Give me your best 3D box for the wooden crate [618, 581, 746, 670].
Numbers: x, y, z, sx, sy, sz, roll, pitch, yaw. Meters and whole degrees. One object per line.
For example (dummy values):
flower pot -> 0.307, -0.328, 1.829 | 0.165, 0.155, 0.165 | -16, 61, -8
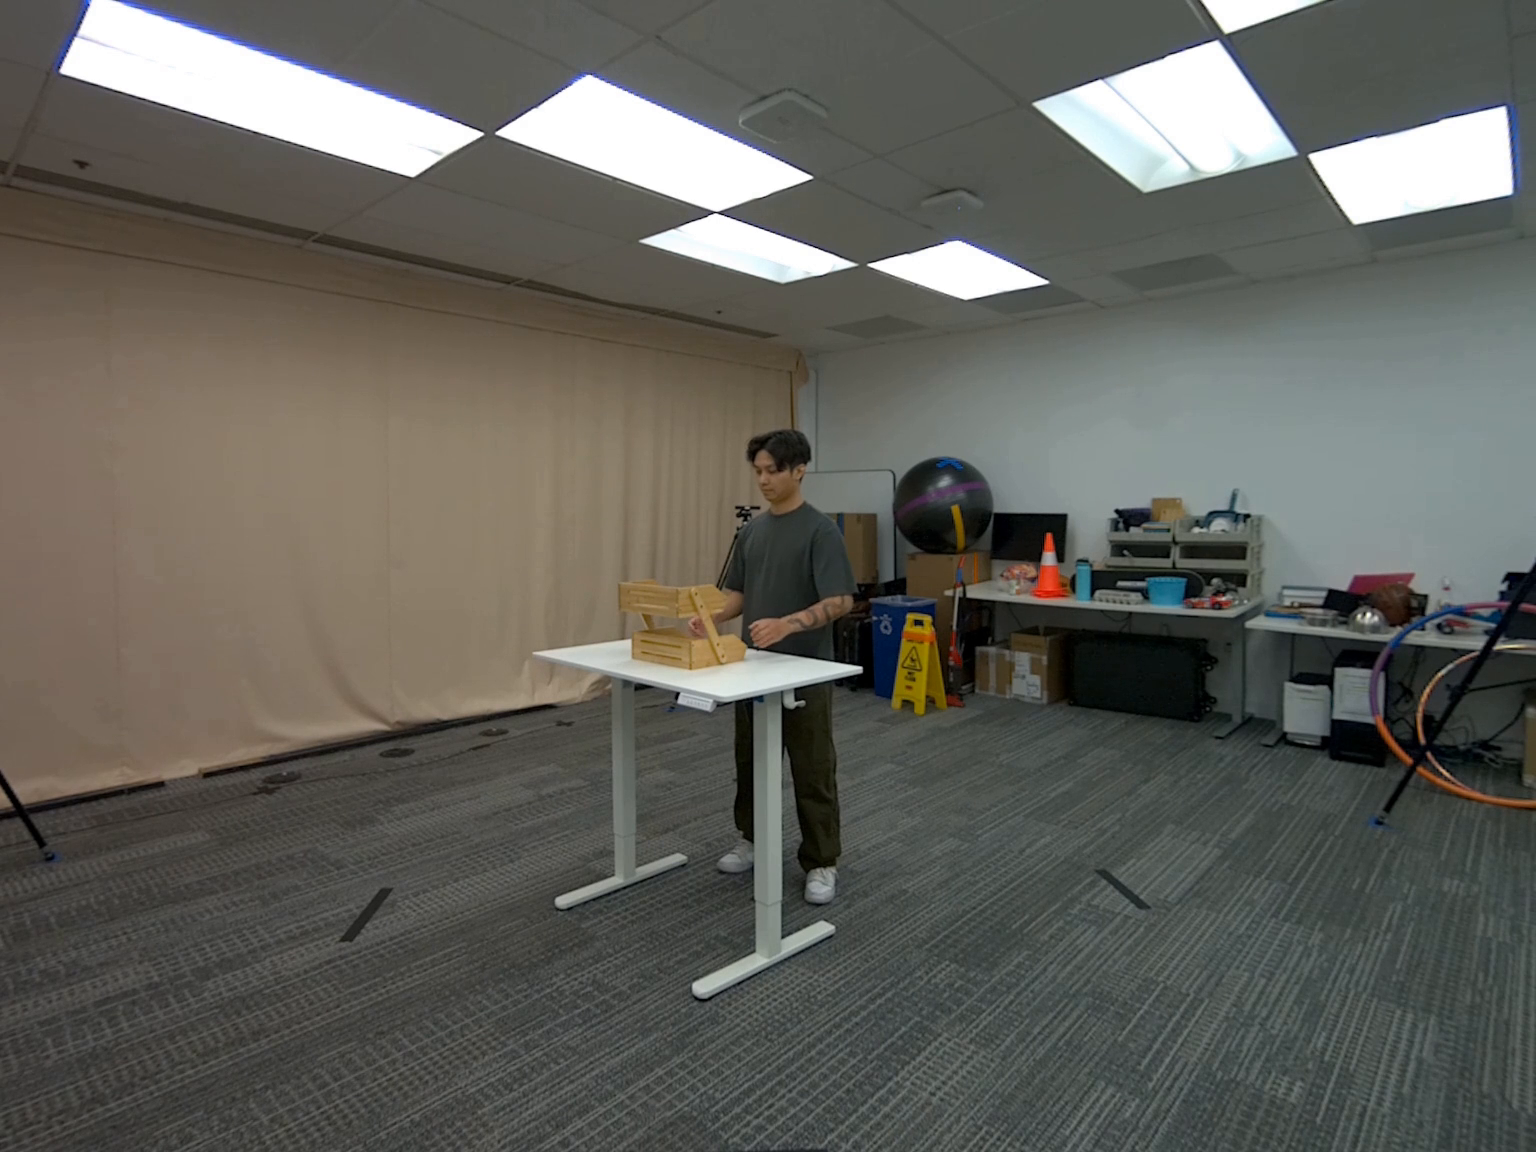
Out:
wooden crate -> -0.277, 0.147, 2.785 | 0.335, 0.273, 0.293 | 3, 5, 44
